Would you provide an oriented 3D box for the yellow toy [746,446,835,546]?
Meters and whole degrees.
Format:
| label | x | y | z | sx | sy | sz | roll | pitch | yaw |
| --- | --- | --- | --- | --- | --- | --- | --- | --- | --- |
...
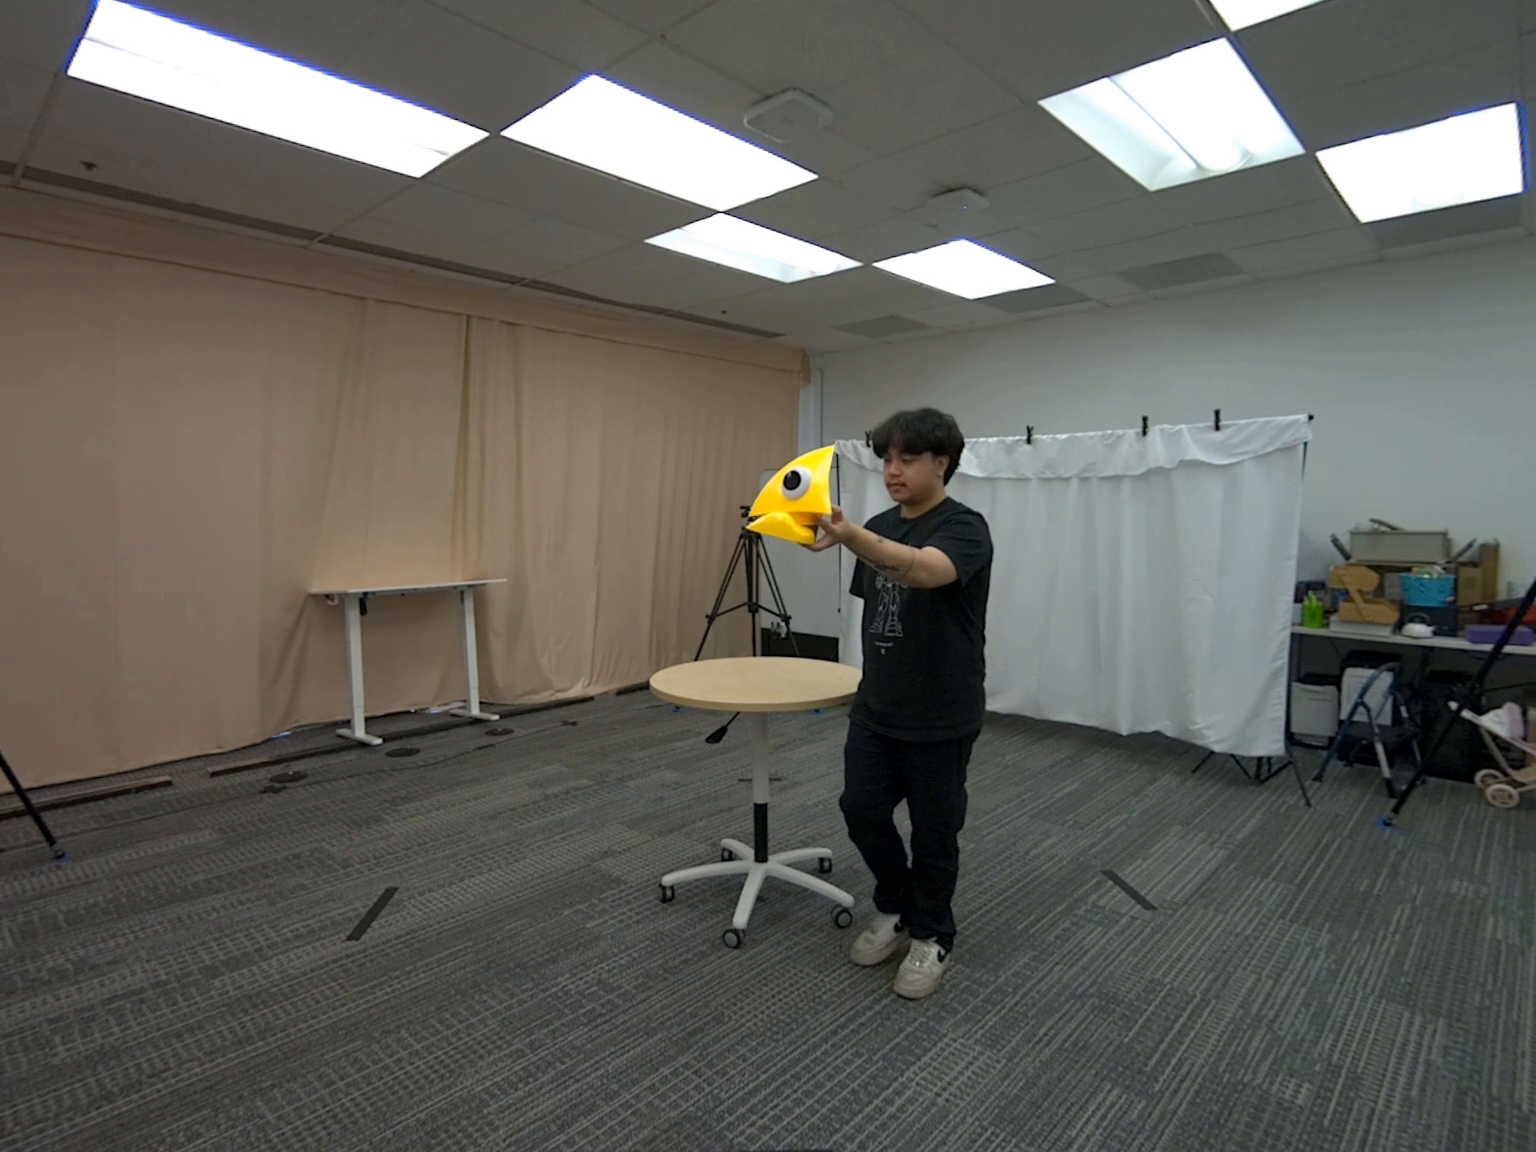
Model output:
| label | x | y | z | sx | sy | sz | roll | pitch | yaw |
| --- | --- | --- | --- | --- | --- | --- | --- | --- | --- |
| yellow toy | 0.075 | -0.209 | 1.968 | 0.194 | 0.230 | 0.204 | 15 | 7 | 4 |
